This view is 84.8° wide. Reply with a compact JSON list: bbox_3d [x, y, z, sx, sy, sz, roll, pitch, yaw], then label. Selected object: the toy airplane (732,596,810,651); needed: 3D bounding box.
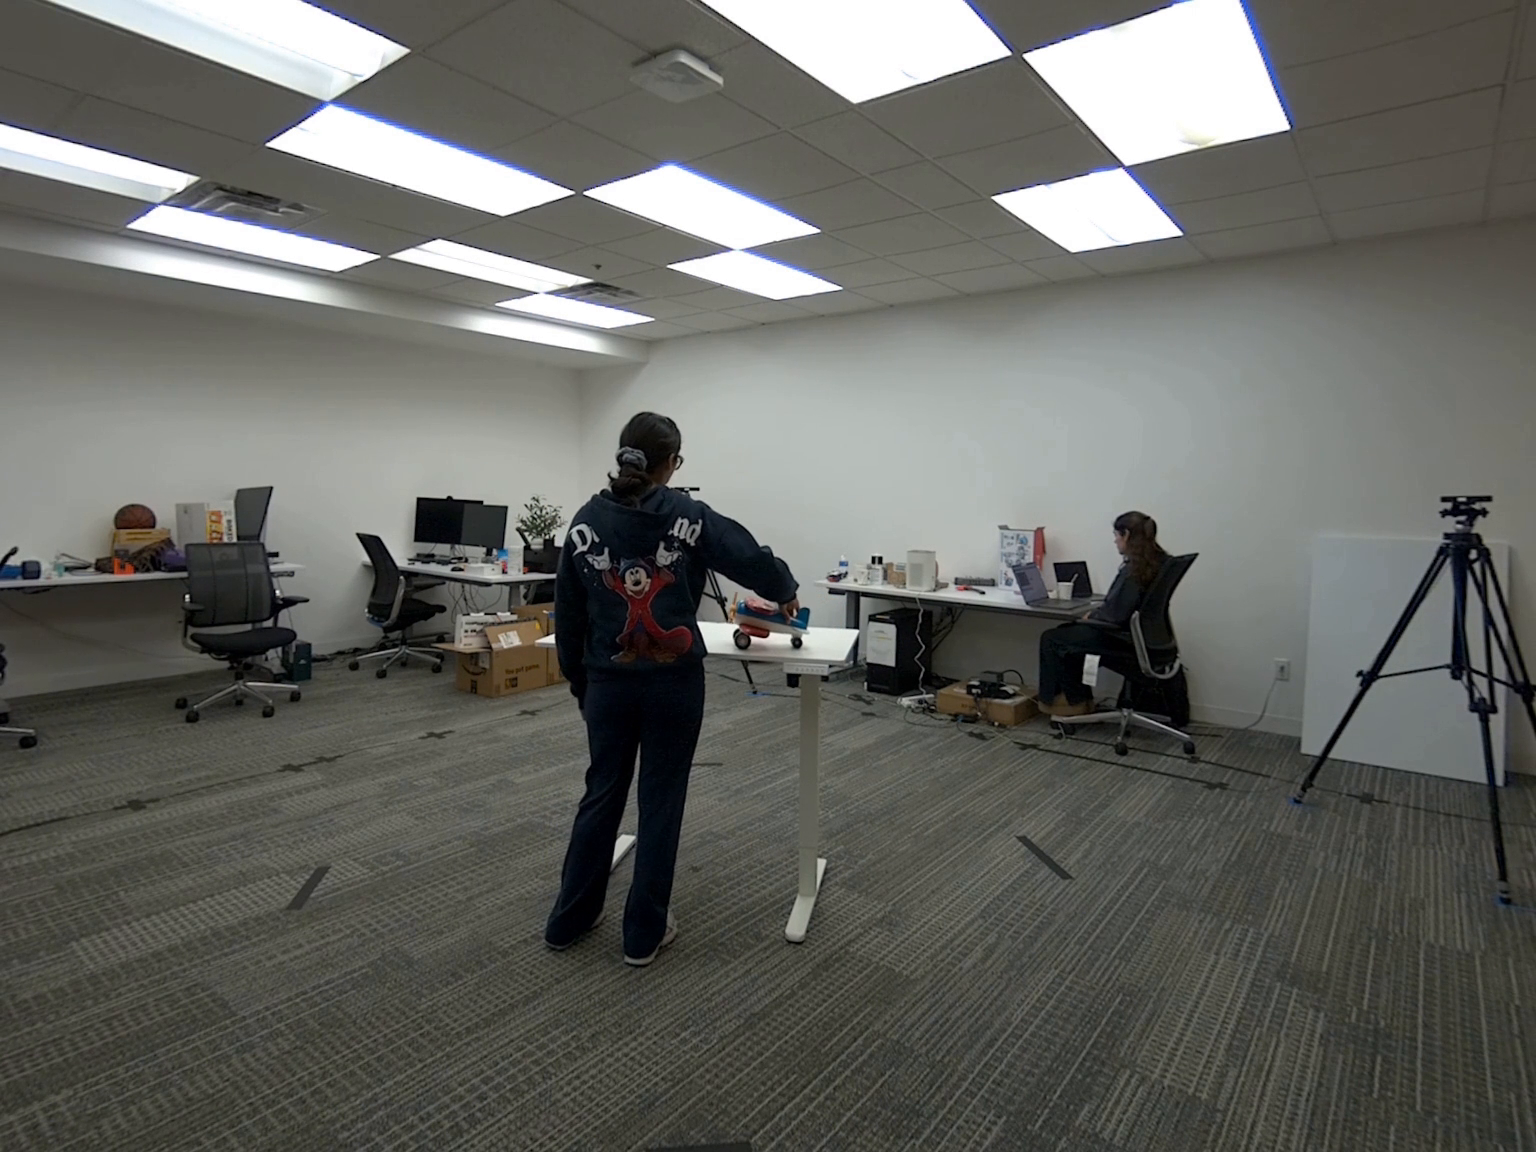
[{"bbox_3d":[-0.006,0.148,2.746,0.252,0.156,0.259,-2,6,-32],"label":"toy airplane"}]
